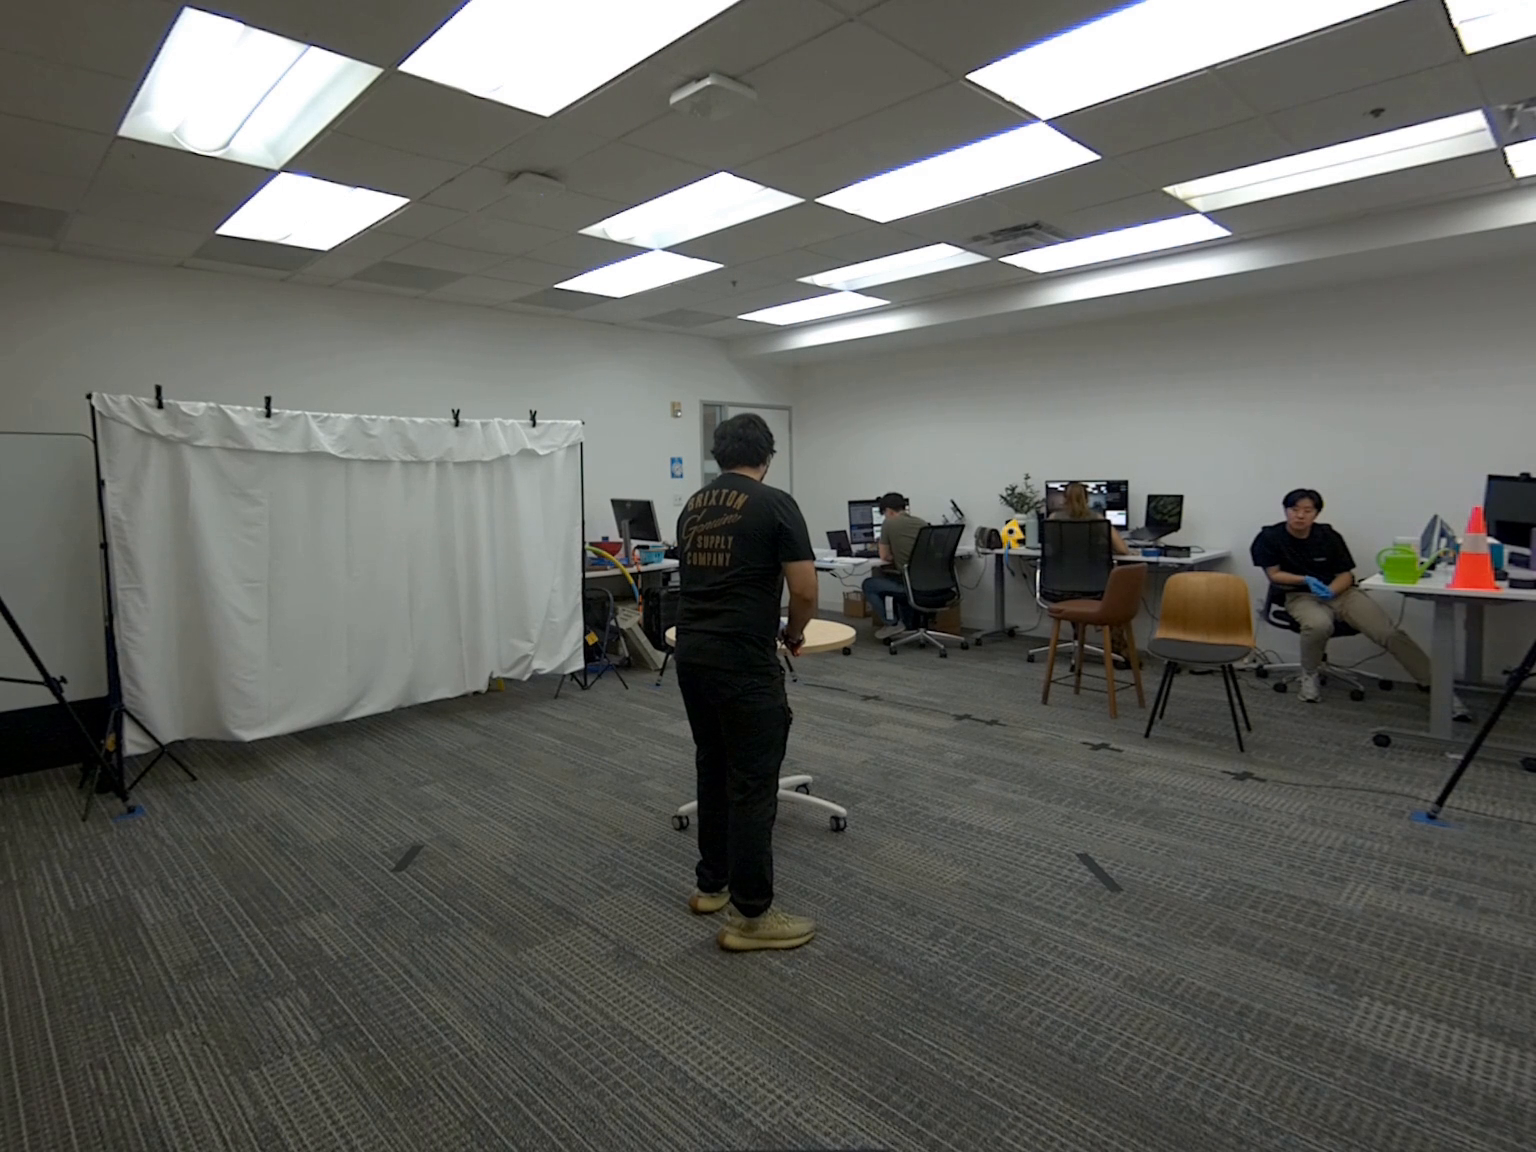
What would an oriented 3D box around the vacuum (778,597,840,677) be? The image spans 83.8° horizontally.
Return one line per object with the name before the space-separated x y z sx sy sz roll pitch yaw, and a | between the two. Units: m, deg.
vacuum | -0.041 0.177 3.324 0.249 0.143 1.070 -8 10 -15
